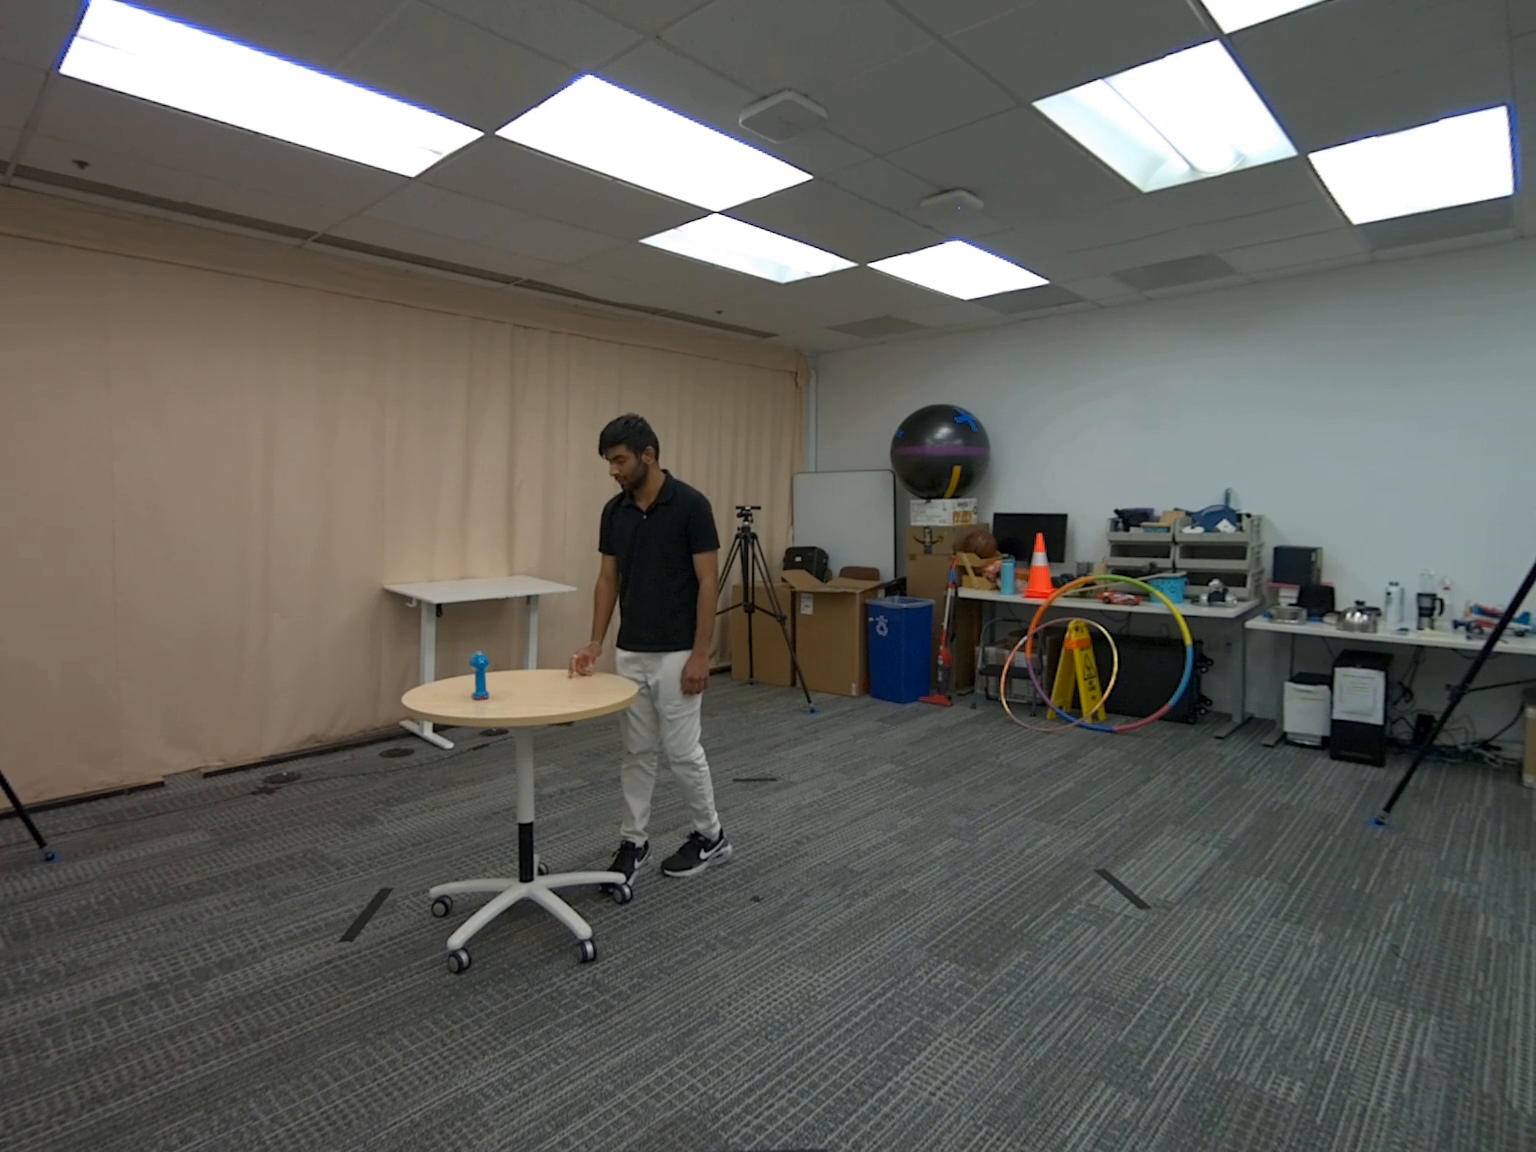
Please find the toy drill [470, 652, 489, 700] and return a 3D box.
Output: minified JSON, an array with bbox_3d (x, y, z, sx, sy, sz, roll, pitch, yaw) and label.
[{"bbox_3d":[-0.941,0.317,2.721,0.060,0.146,0.174,-4,3,-25],"label":"toy drill"}]
